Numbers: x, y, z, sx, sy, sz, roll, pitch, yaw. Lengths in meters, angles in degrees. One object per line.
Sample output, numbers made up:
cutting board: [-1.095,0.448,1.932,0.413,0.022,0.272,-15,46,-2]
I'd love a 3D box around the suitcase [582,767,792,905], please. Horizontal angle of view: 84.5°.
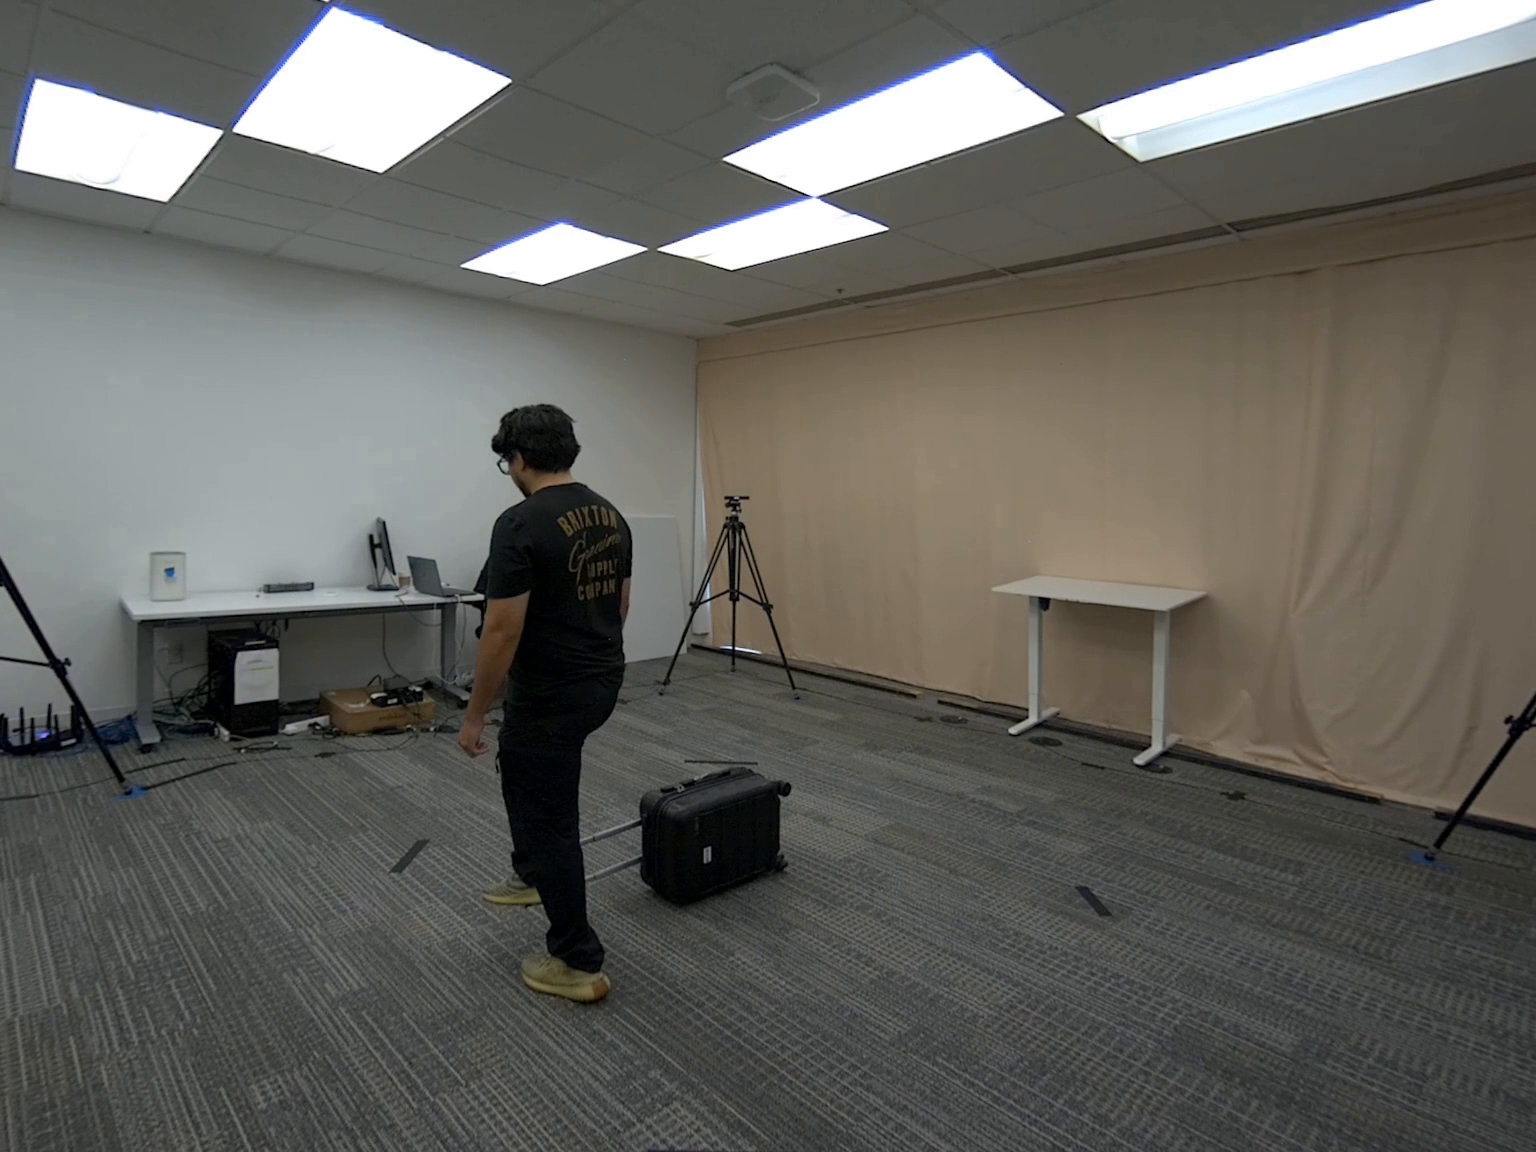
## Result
suitcase: [-0.342,0.932,2.893,0.957,0.383,0.263,-4,7,-44]
